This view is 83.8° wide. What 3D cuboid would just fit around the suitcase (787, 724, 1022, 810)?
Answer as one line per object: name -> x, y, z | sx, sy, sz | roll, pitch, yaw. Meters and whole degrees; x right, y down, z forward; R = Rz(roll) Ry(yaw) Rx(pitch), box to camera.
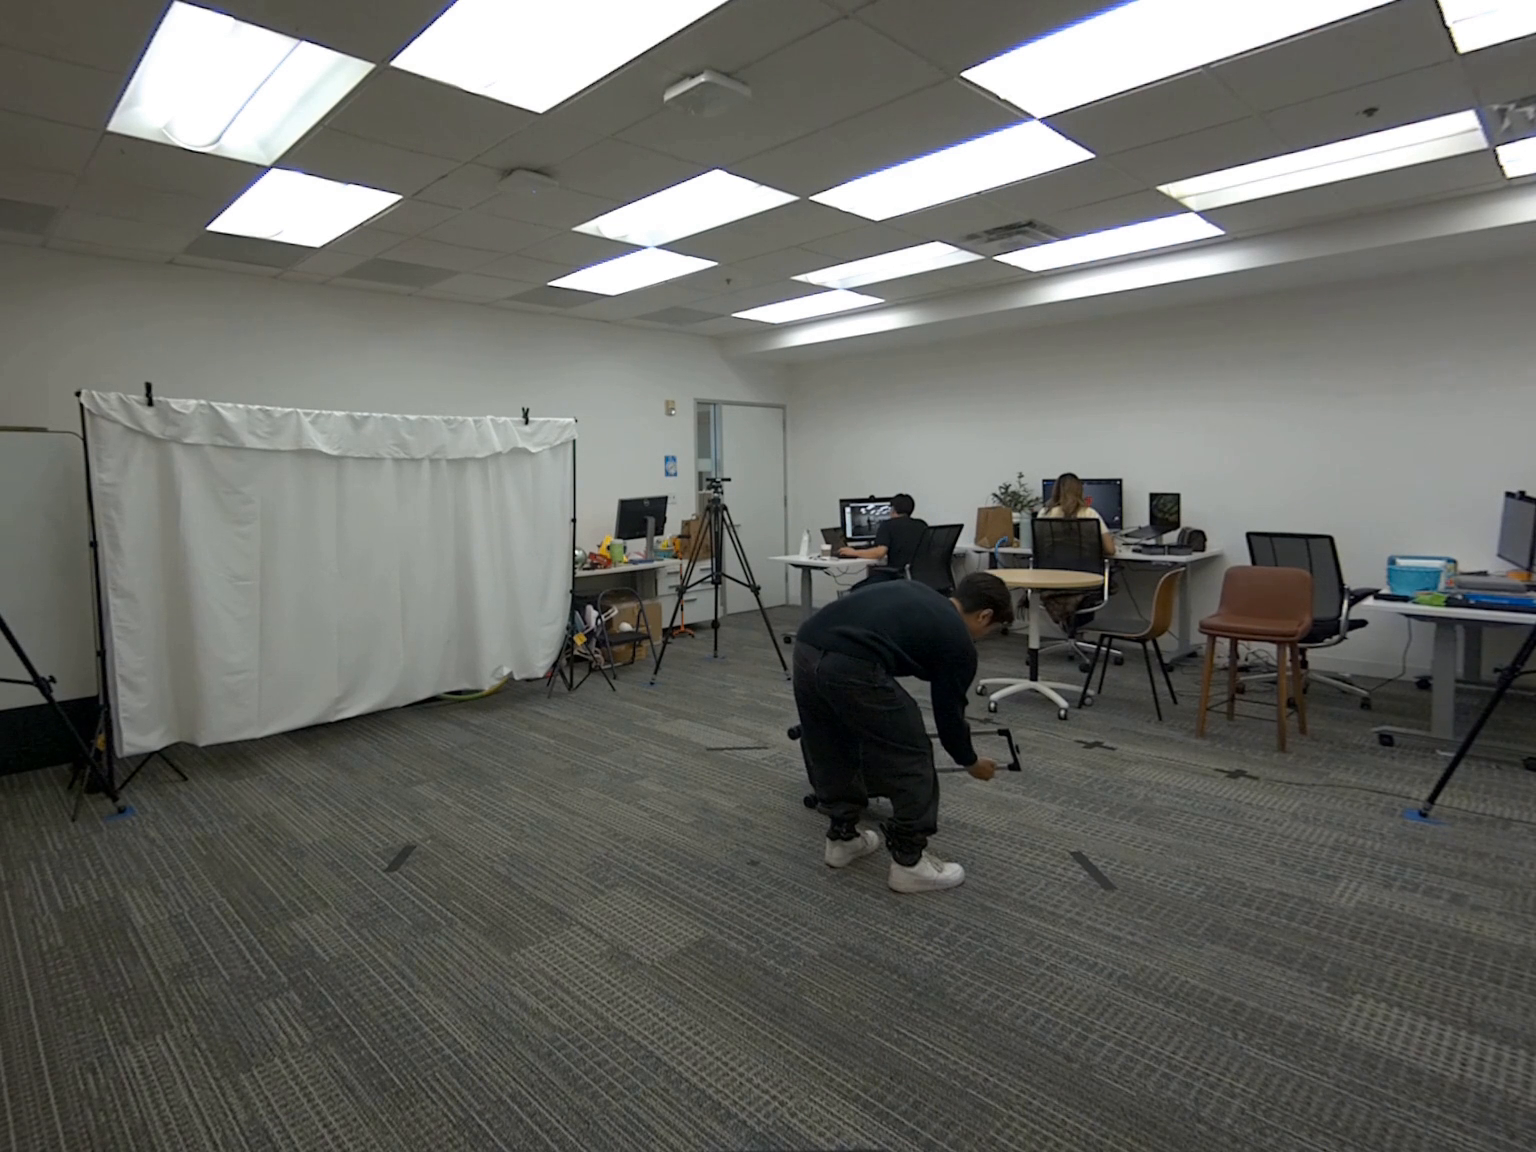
suitcase -> 0.561, 0.690, 3.437 | 0.998, 0.387, 0.250 | -16, -6, 38
